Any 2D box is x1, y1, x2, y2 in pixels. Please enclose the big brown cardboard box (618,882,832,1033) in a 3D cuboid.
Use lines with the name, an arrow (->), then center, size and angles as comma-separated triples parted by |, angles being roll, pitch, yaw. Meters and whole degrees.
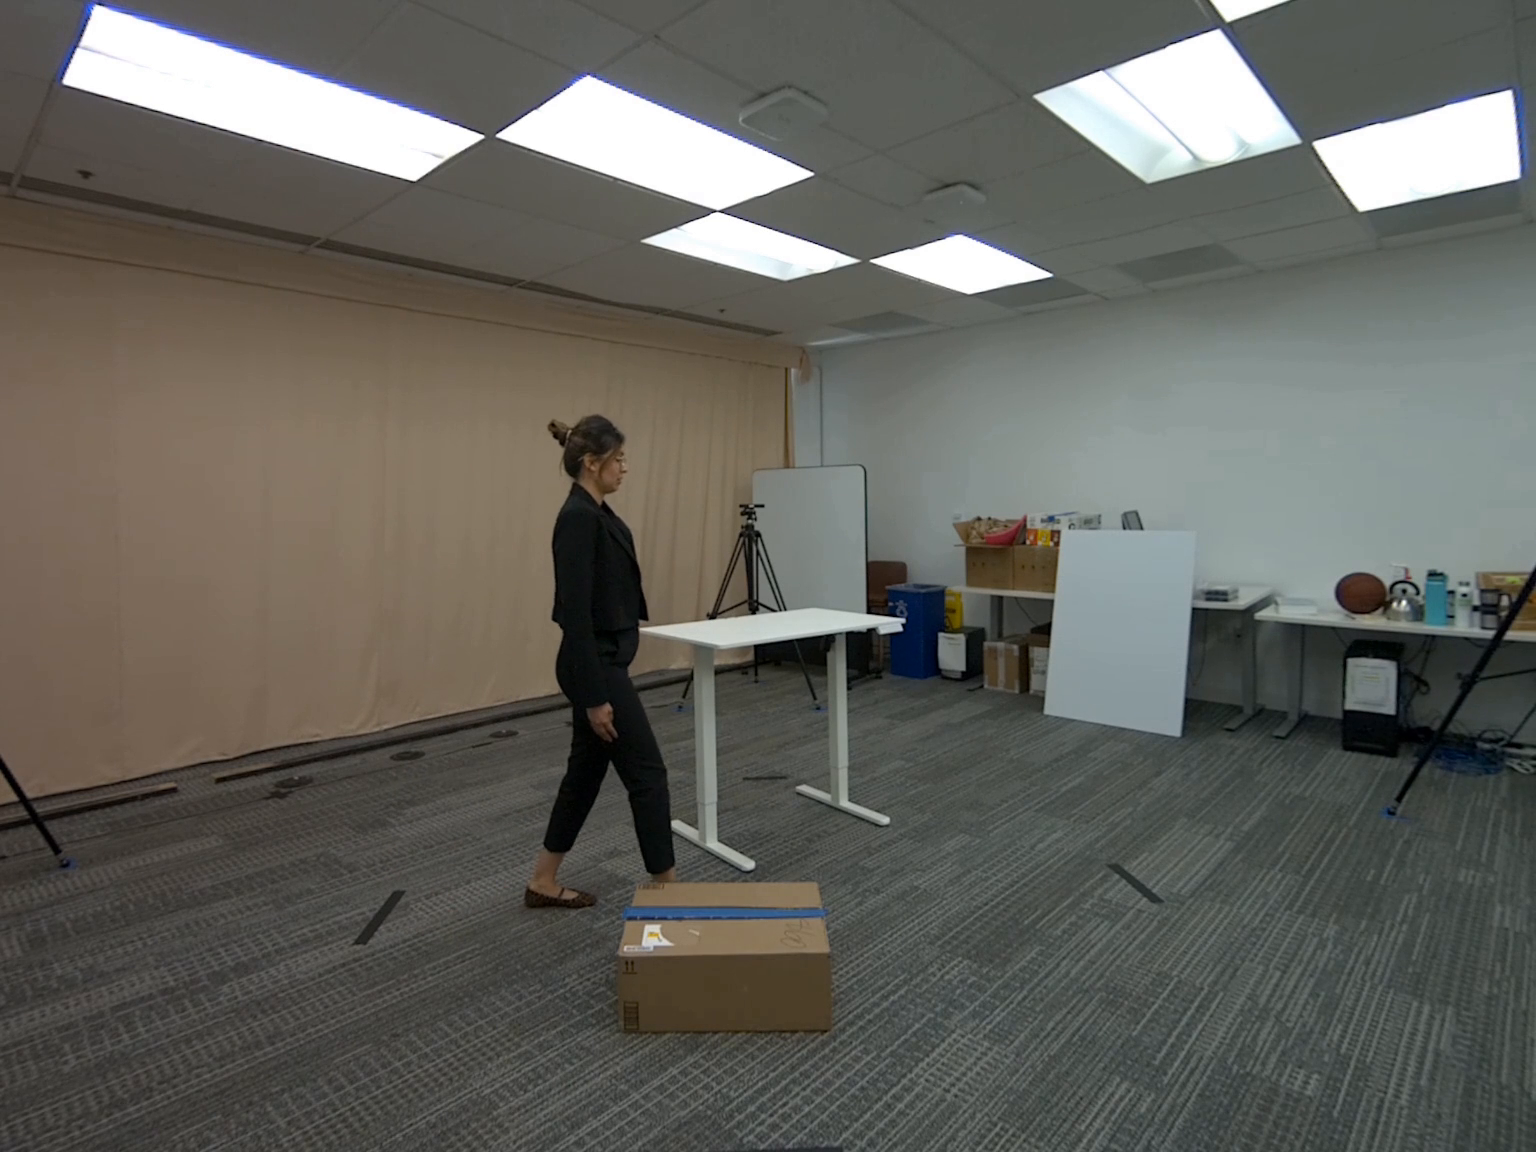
big brown cardboard box -> -0.118, 1.079, 2.419 | 0.589, 0.232, 0.419 | 0, 5, -1
